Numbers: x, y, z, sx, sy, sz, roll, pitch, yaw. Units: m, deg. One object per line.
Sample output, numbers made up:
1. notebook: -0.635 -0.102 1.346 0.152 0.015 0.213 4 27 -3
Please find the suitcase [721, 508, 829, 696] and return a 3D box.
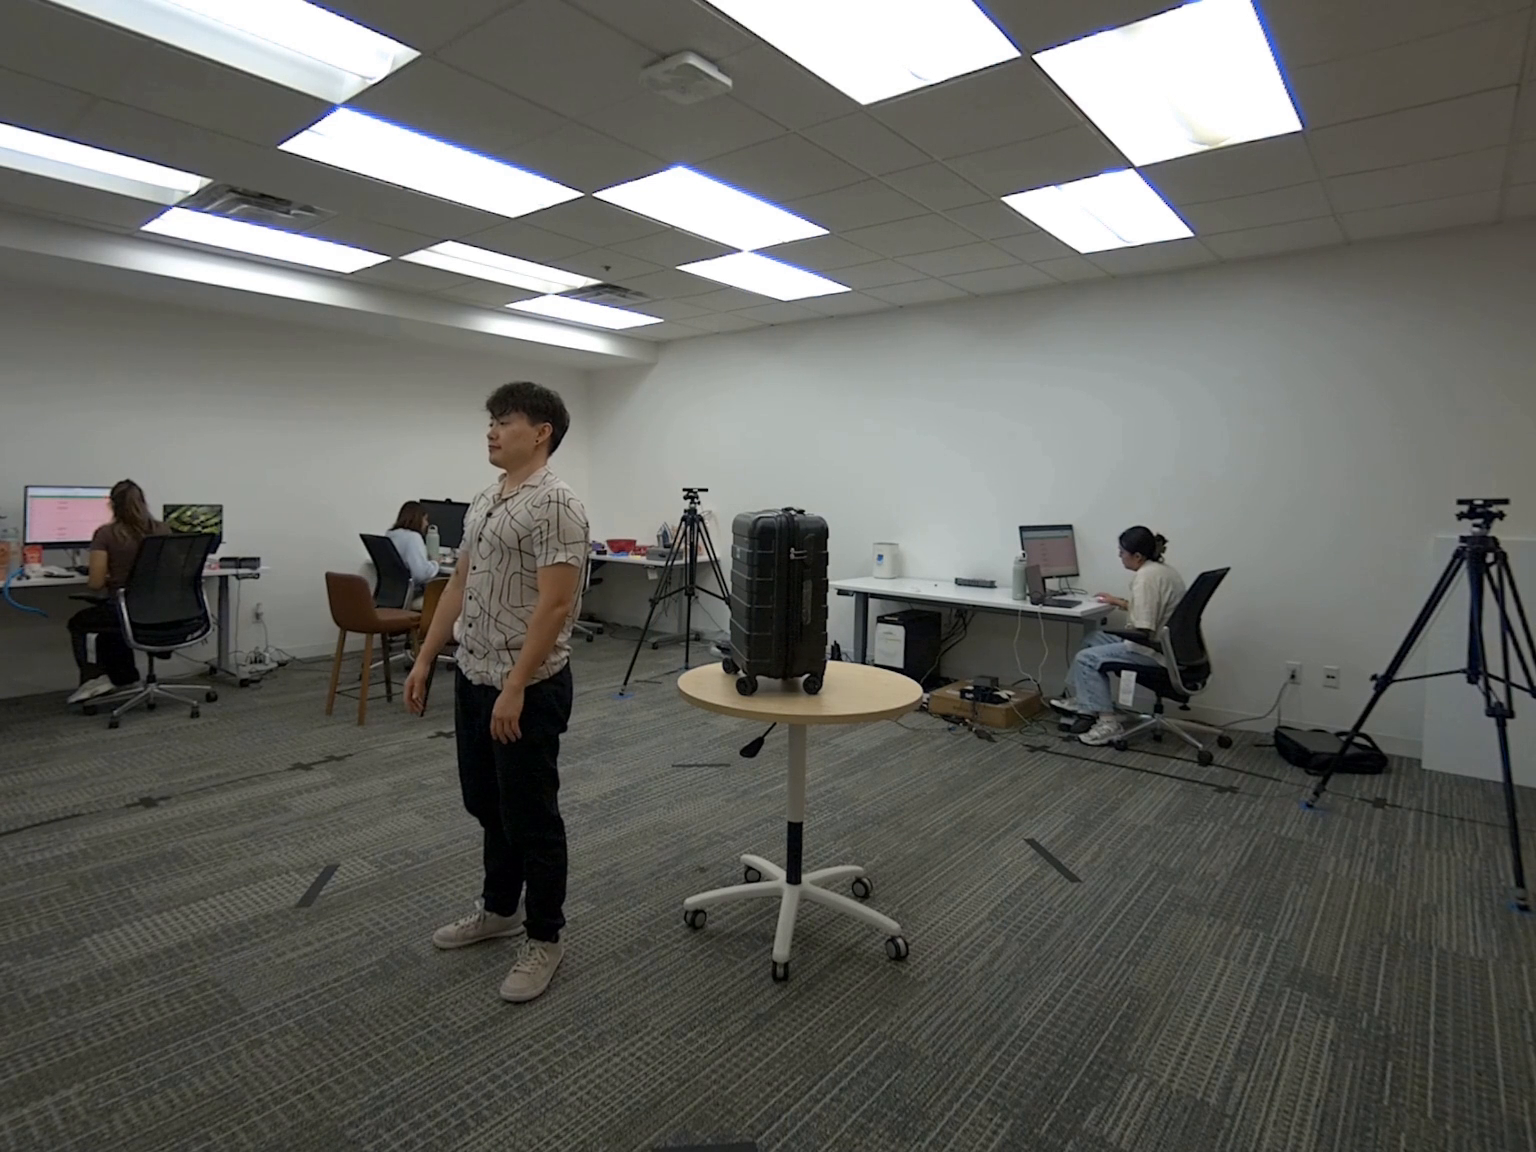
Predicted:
1. suitcase: 0.012 0.062 2.645 0.246 0.547 0.380 1 5 -9
